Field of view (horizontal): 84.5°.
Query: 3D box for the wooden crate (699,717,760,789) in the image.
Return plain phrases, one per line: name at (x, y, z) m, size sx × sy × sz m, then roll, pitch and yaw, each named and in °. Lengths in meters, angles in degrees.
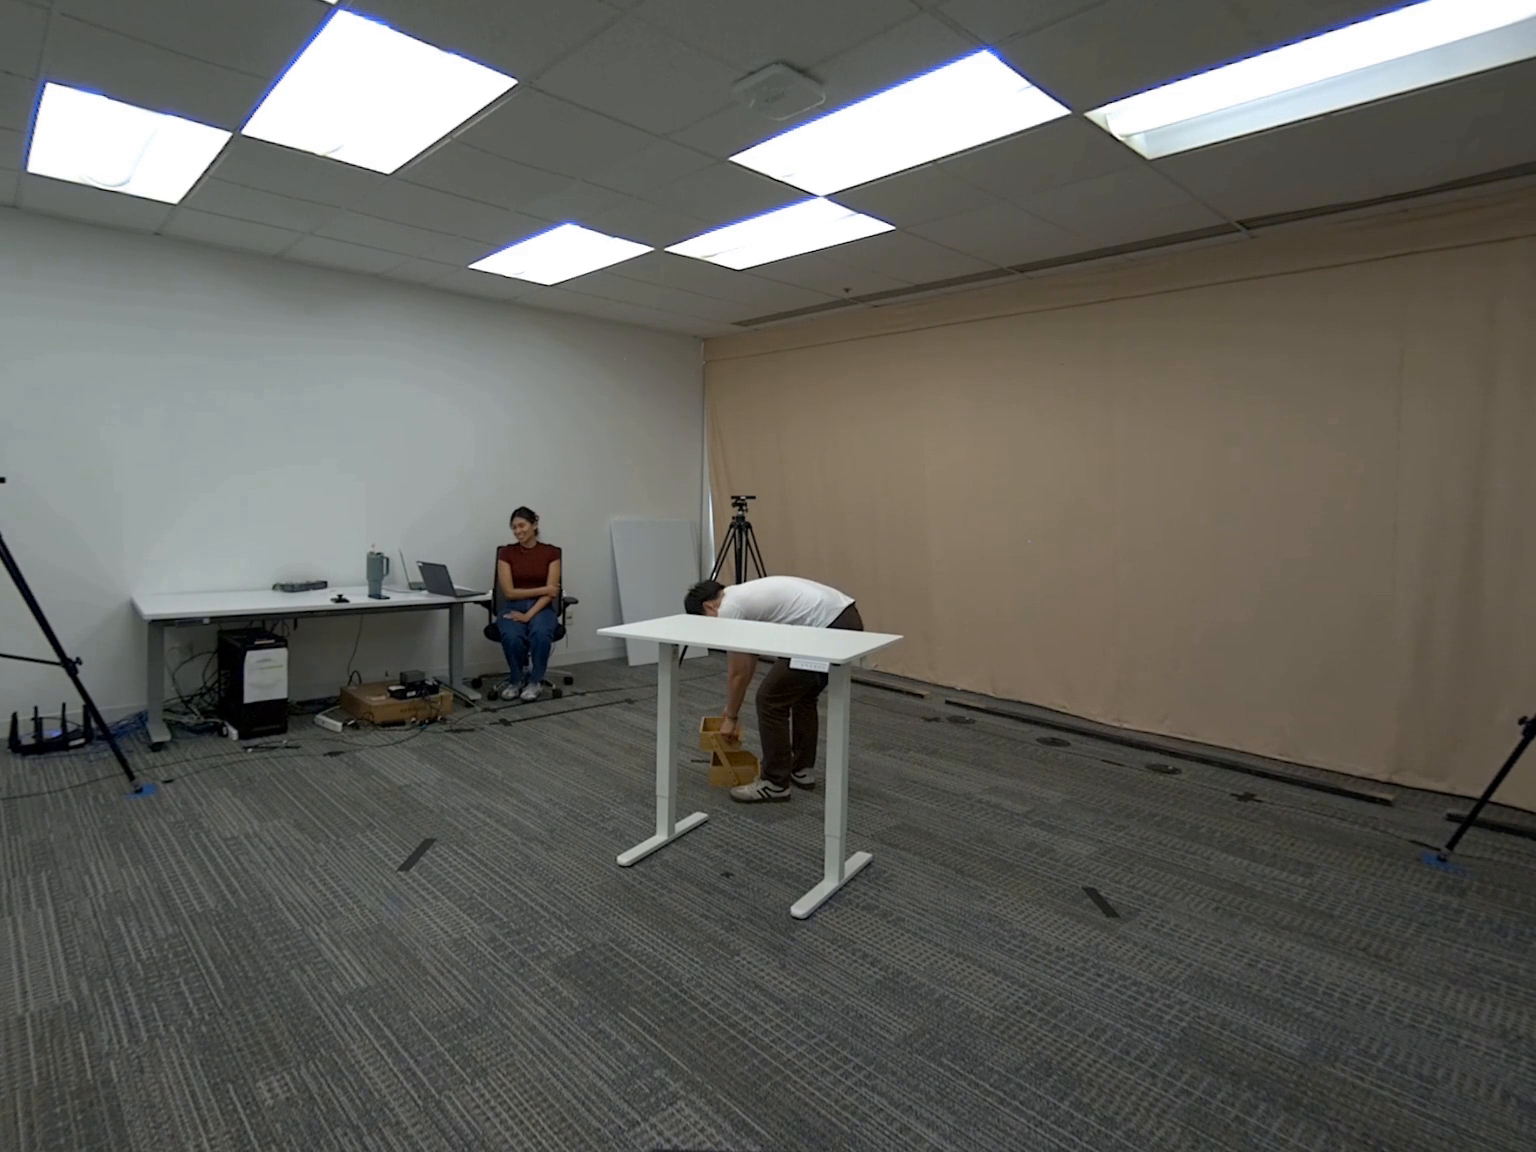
wooden crate at (-0.195, 0.870, 4.225) m, size 0.302 × 0.272 × 0.325 m, roll 1°, pitch 4°, yaw 0°
